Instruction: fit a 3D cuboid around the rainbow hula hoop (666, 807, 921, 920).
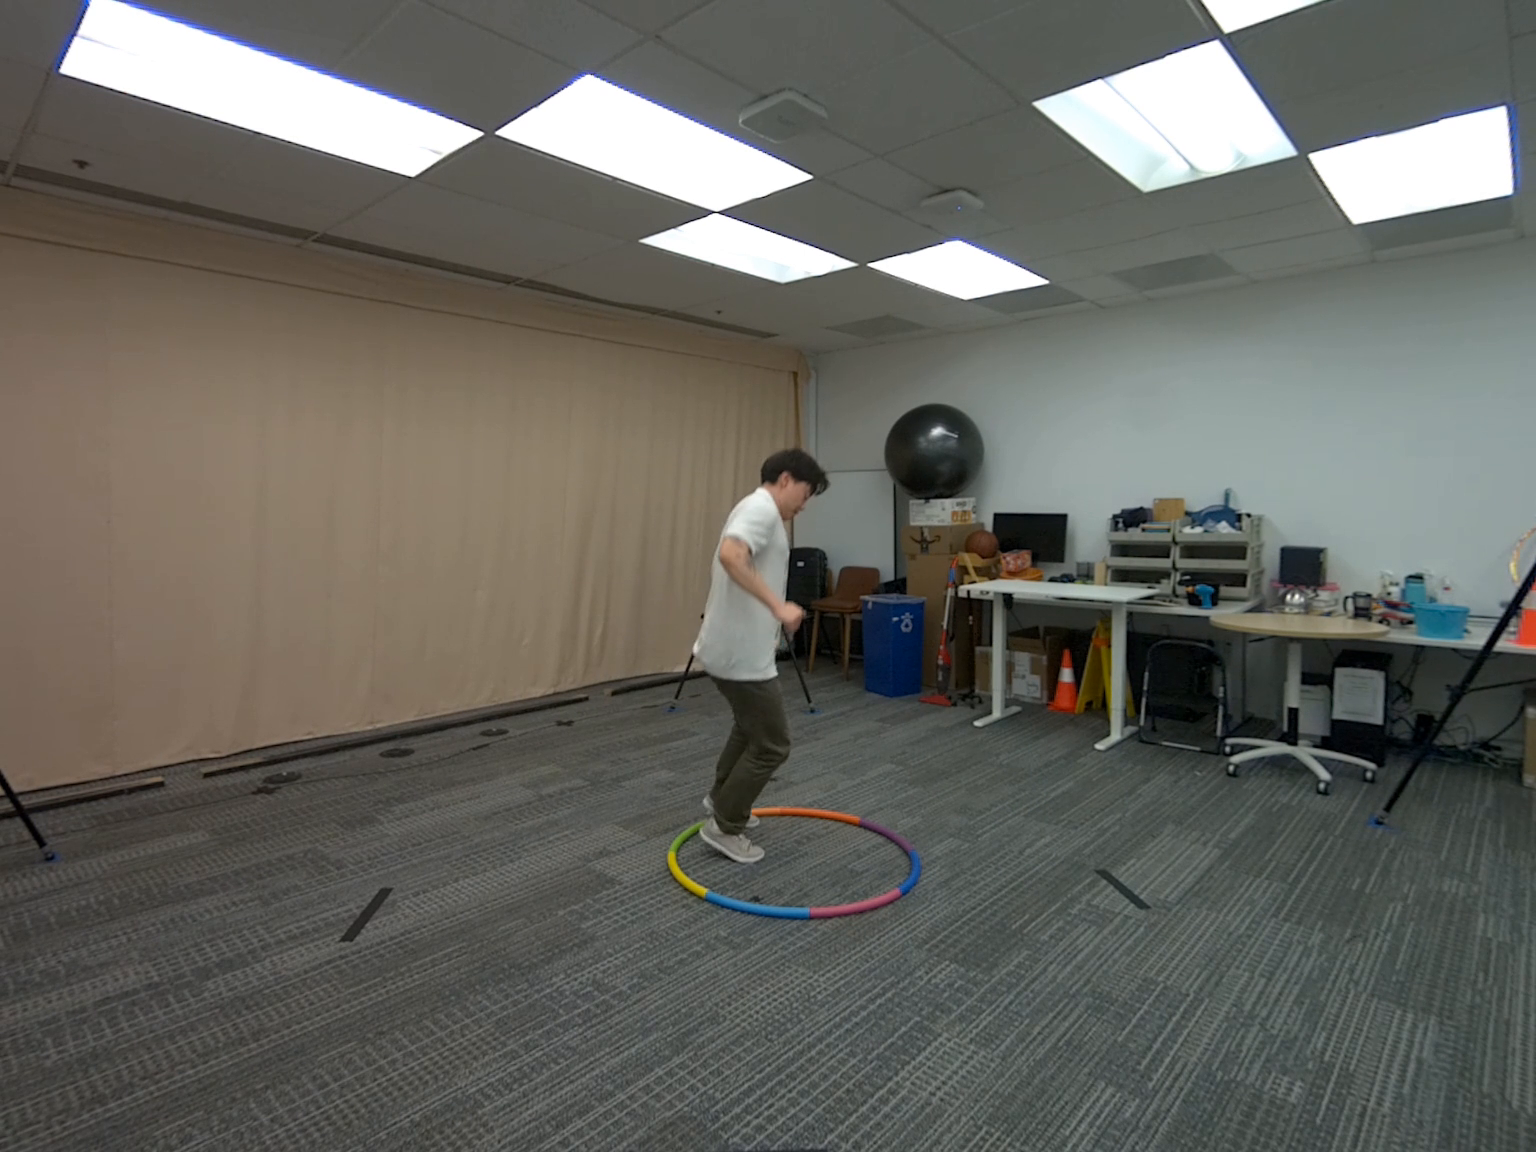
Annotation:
[{"bbox_3d":[0.096,1.086,3.317,0.978,0.035,0.982,0,5,-2],"label":"rainbow hula hoop"}]
